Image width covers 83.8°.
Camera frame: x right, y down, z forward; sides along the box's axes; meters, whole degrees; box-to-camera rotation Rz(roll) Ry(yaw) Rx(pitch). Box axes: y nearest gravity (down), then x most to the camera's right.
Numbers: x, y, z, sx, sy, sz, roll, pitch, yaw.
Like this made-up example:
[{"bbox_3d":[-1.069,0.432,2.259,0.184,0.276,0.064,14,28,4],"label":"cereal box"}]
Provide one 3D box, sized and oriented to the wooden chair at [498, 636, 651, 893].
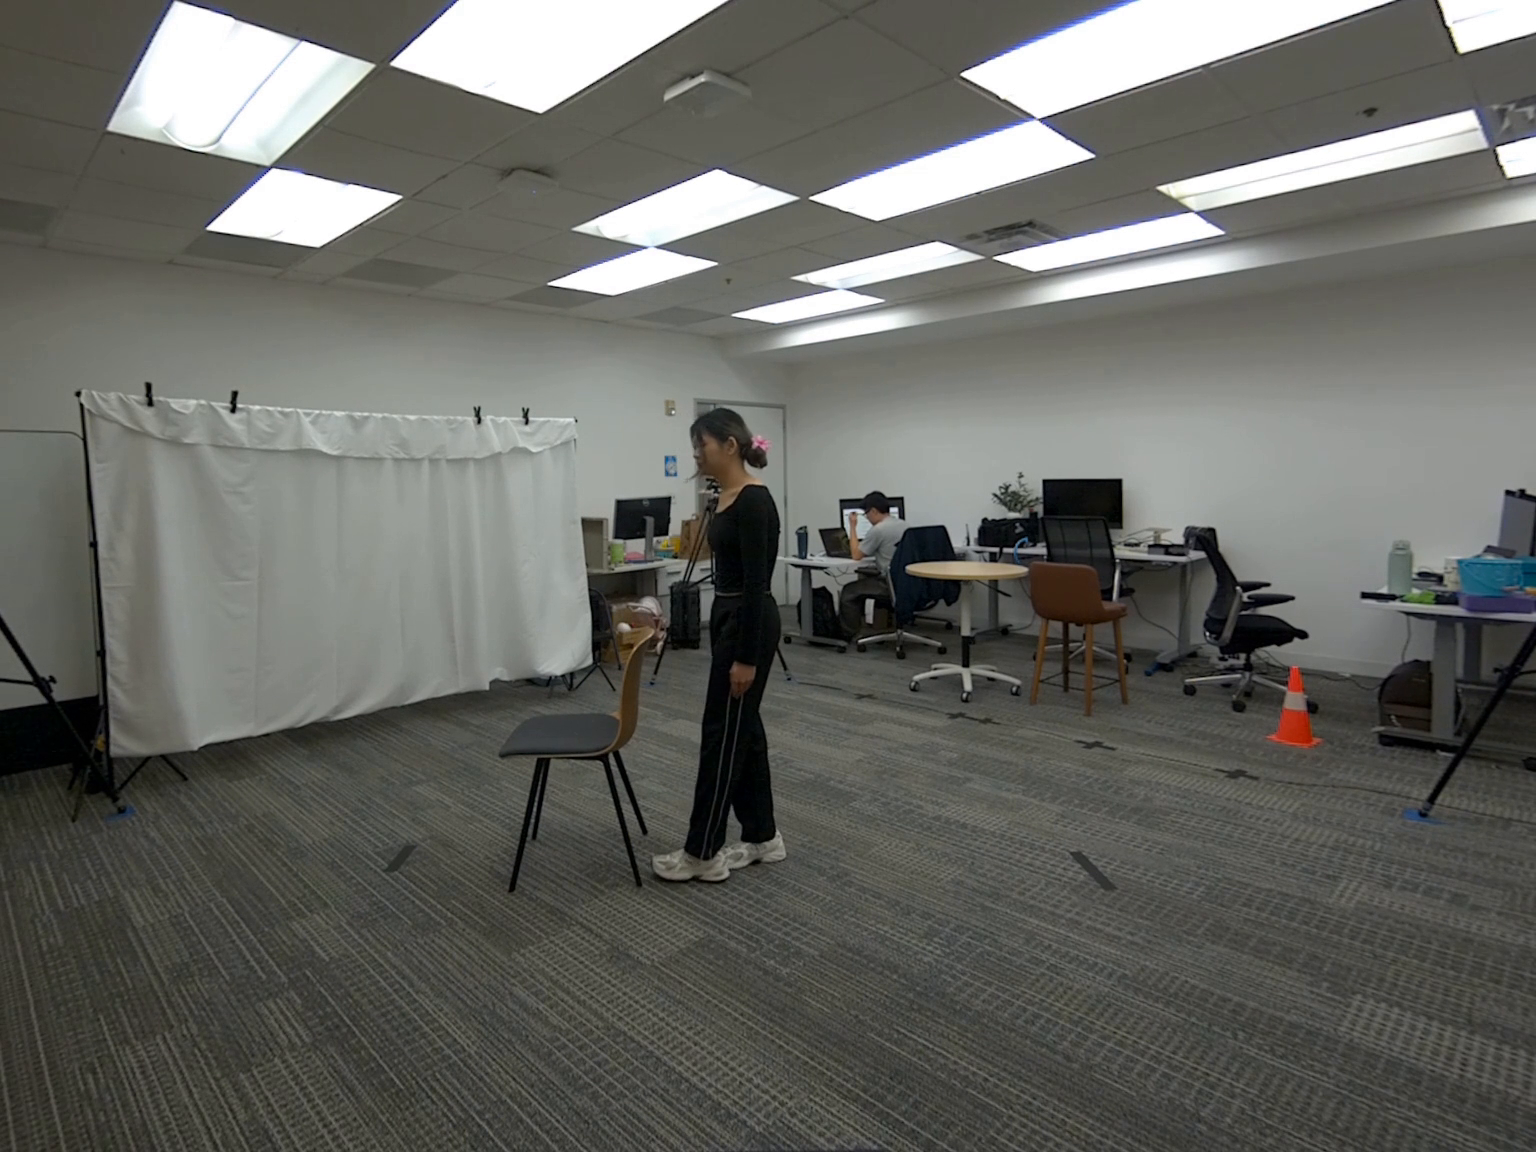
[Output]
[{"bbox_3d":[-0.696,0.625,3.107,0.521,0.874,0.482,2,5,-4],"label":"wooden chair"}]
